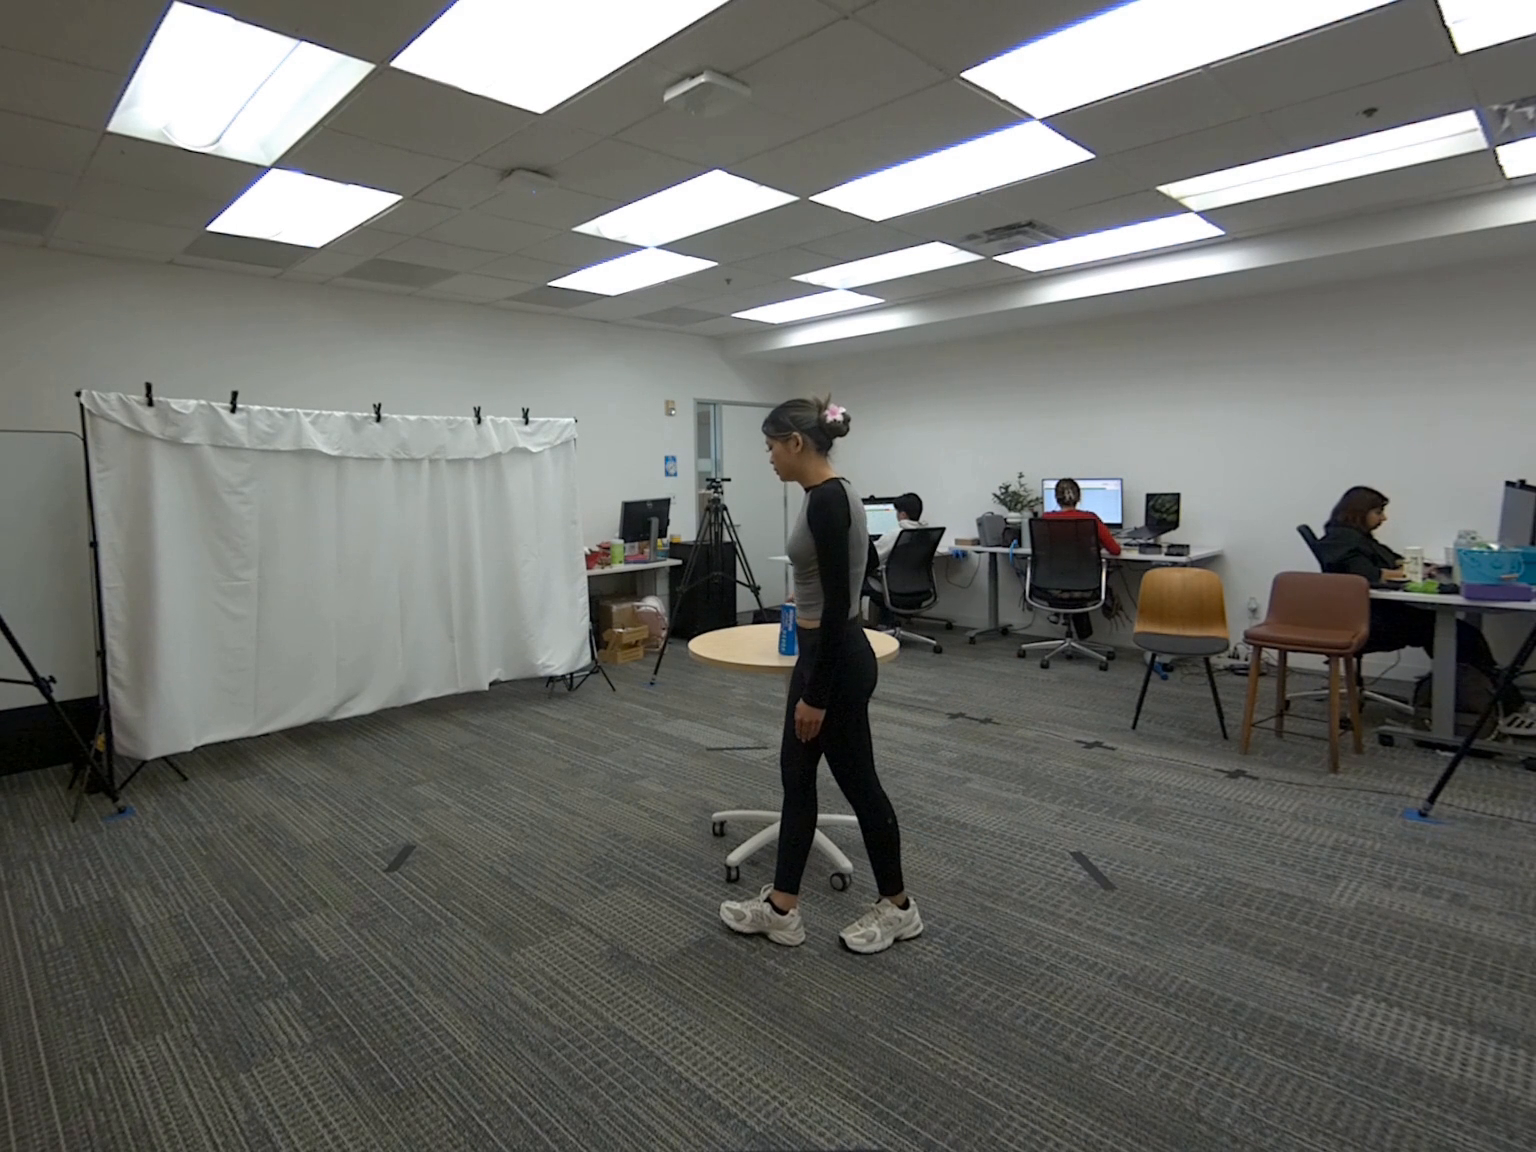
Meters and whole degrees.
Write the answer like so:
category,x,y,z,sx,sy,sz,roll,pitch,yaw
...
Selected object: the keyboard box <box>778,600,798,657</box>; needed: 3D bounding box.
category,x,y,z,sx,sy,sz,roll,pitch,yaw
keyboard box,0.153,0.158,3.097,0.060,0.175,0.430,4,9,22
